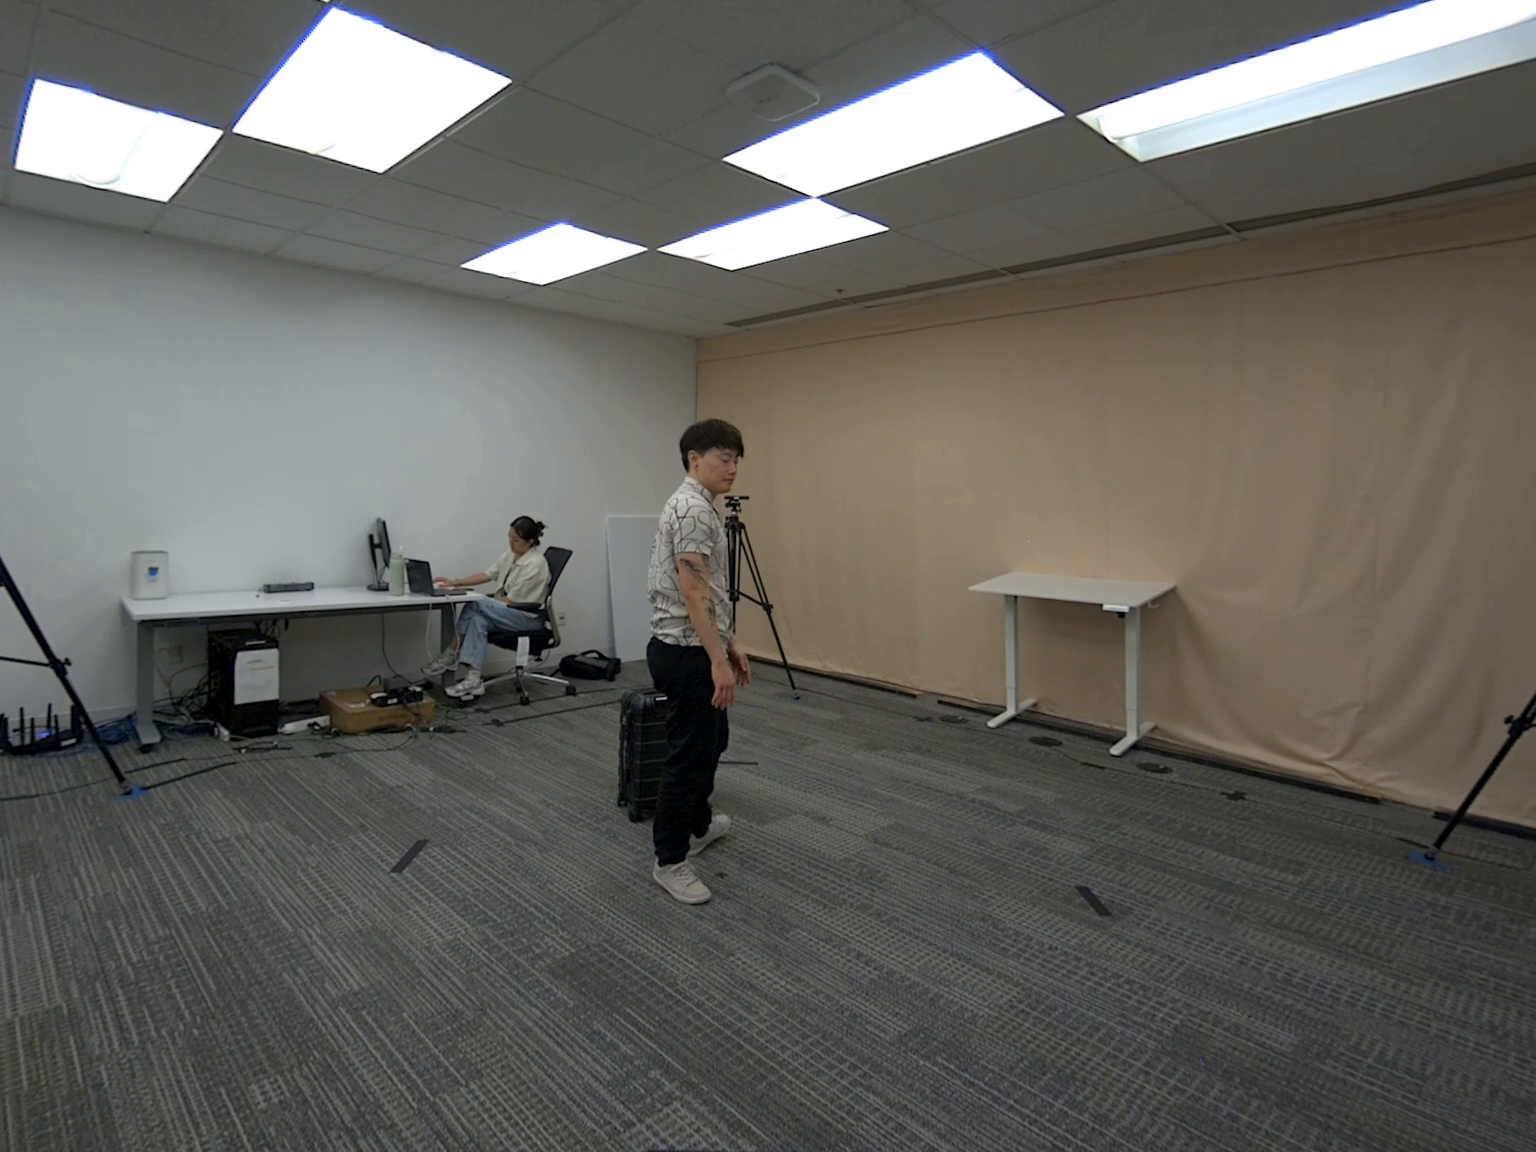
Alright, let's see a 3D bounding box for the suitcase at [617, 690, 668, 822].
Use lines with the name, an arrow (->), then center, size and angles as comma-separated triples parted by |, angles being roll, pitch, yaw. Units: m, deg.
suitcase -> -0.479, 0.767, 3.727 | 0.368, 0.548, 0.253 | 0, 4, -26
